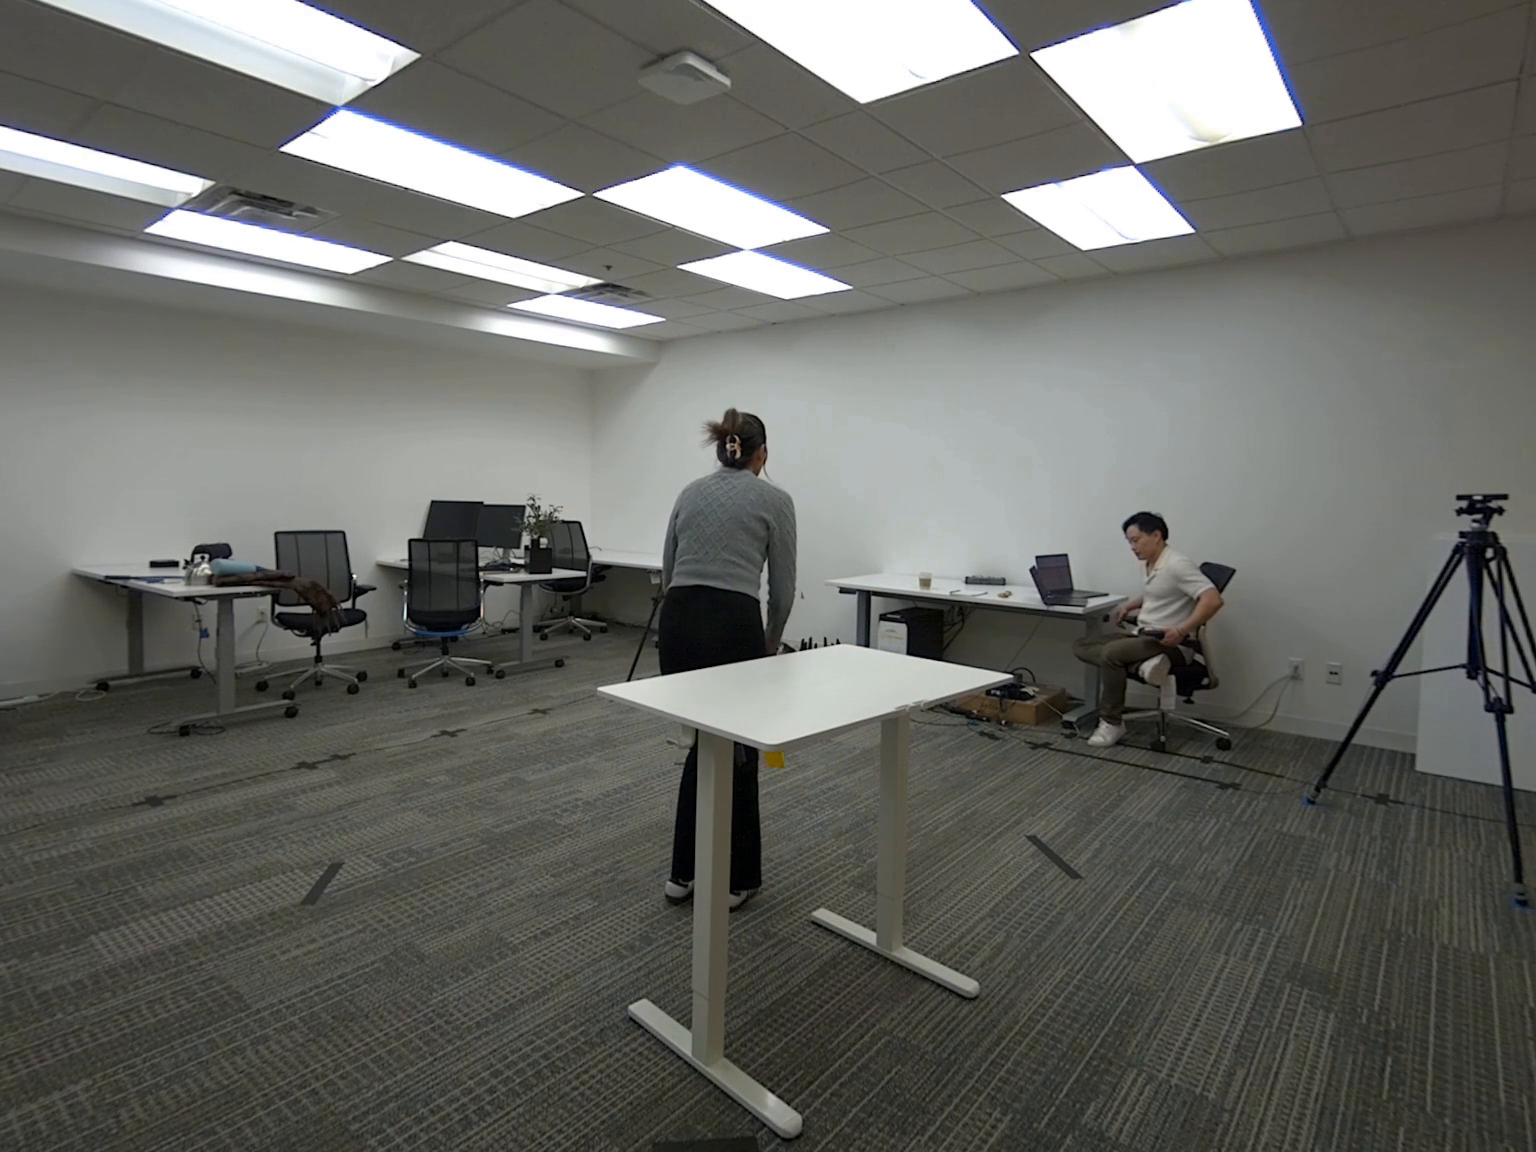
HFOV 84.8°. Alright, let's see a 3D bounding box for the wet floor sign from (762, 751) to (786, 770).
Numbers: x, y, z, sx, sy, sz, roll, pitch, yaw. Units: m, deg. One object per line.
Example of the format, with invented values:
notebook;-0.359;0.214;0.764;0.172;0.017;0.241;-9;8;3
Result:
wet floor sign;-0.085;0.382;3.268;0.289;0.625;0.292;4;37;24
